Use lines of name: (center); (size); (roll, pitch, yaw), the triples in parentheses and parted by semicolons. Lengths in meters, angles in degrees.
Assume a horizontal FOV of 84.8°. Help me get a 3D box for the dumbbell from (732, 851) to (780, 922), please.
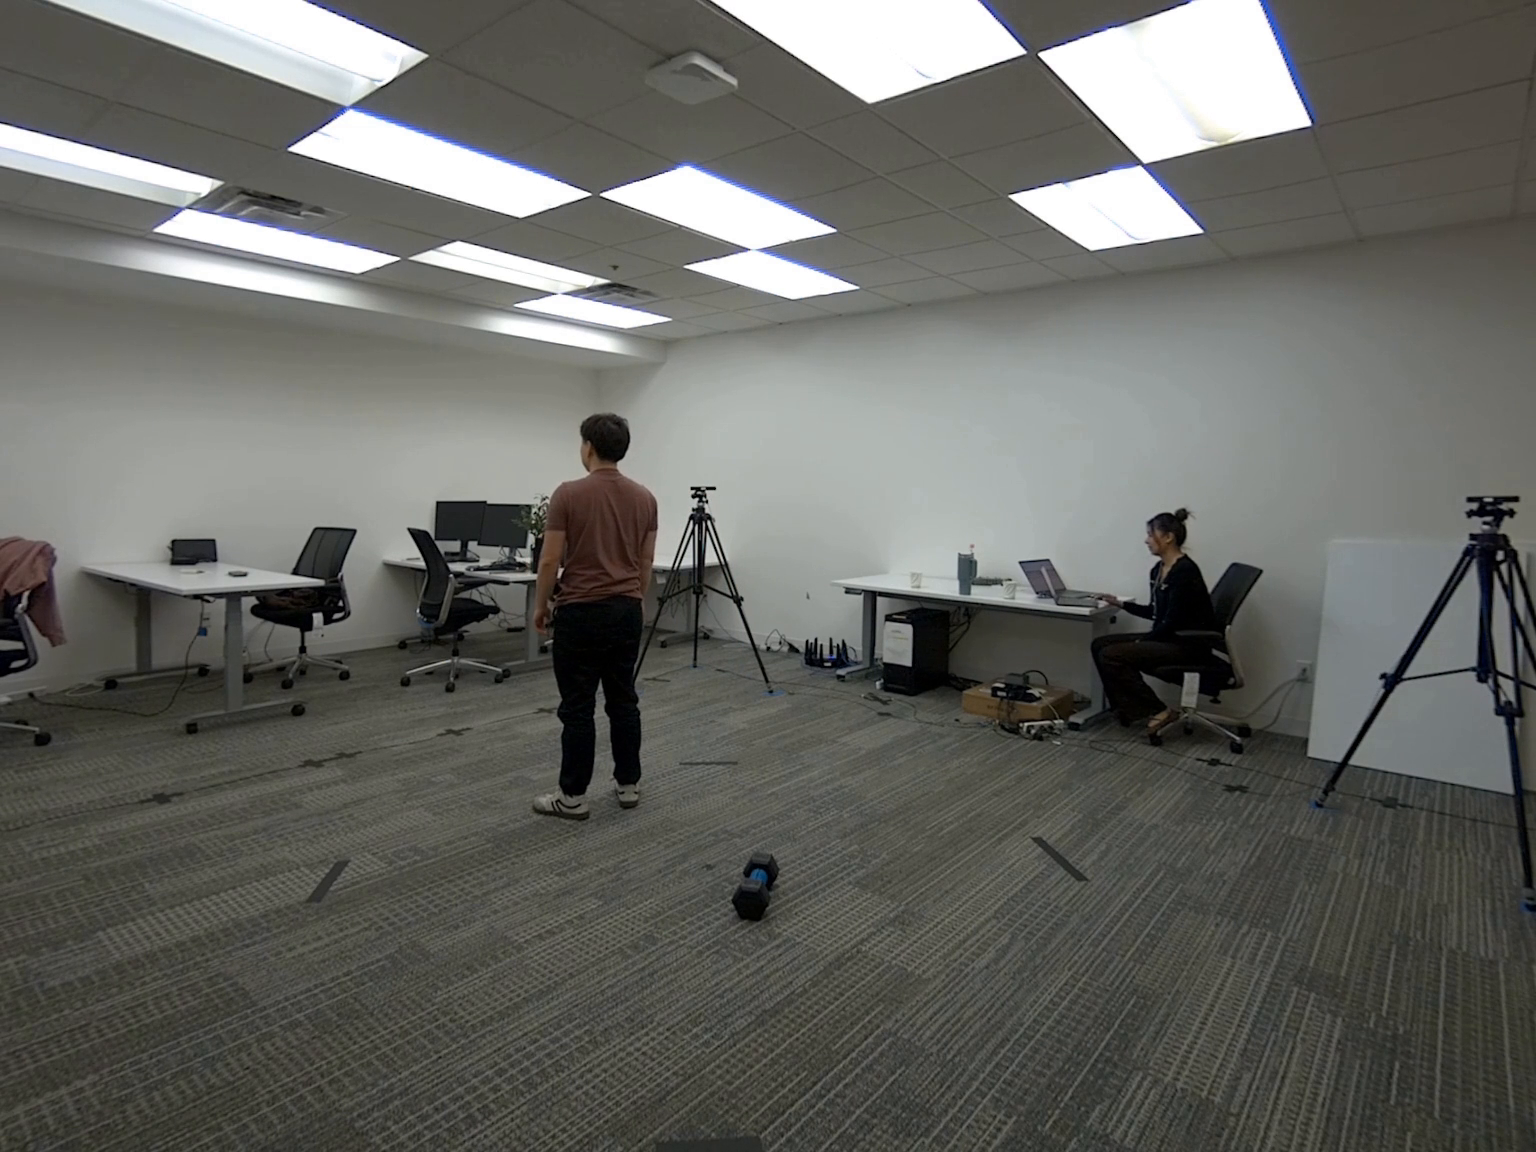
dumbbell: (-0.045, 1.037, 2.867); (0.109, 0.123, 0.291); (-32, -1, 10)
